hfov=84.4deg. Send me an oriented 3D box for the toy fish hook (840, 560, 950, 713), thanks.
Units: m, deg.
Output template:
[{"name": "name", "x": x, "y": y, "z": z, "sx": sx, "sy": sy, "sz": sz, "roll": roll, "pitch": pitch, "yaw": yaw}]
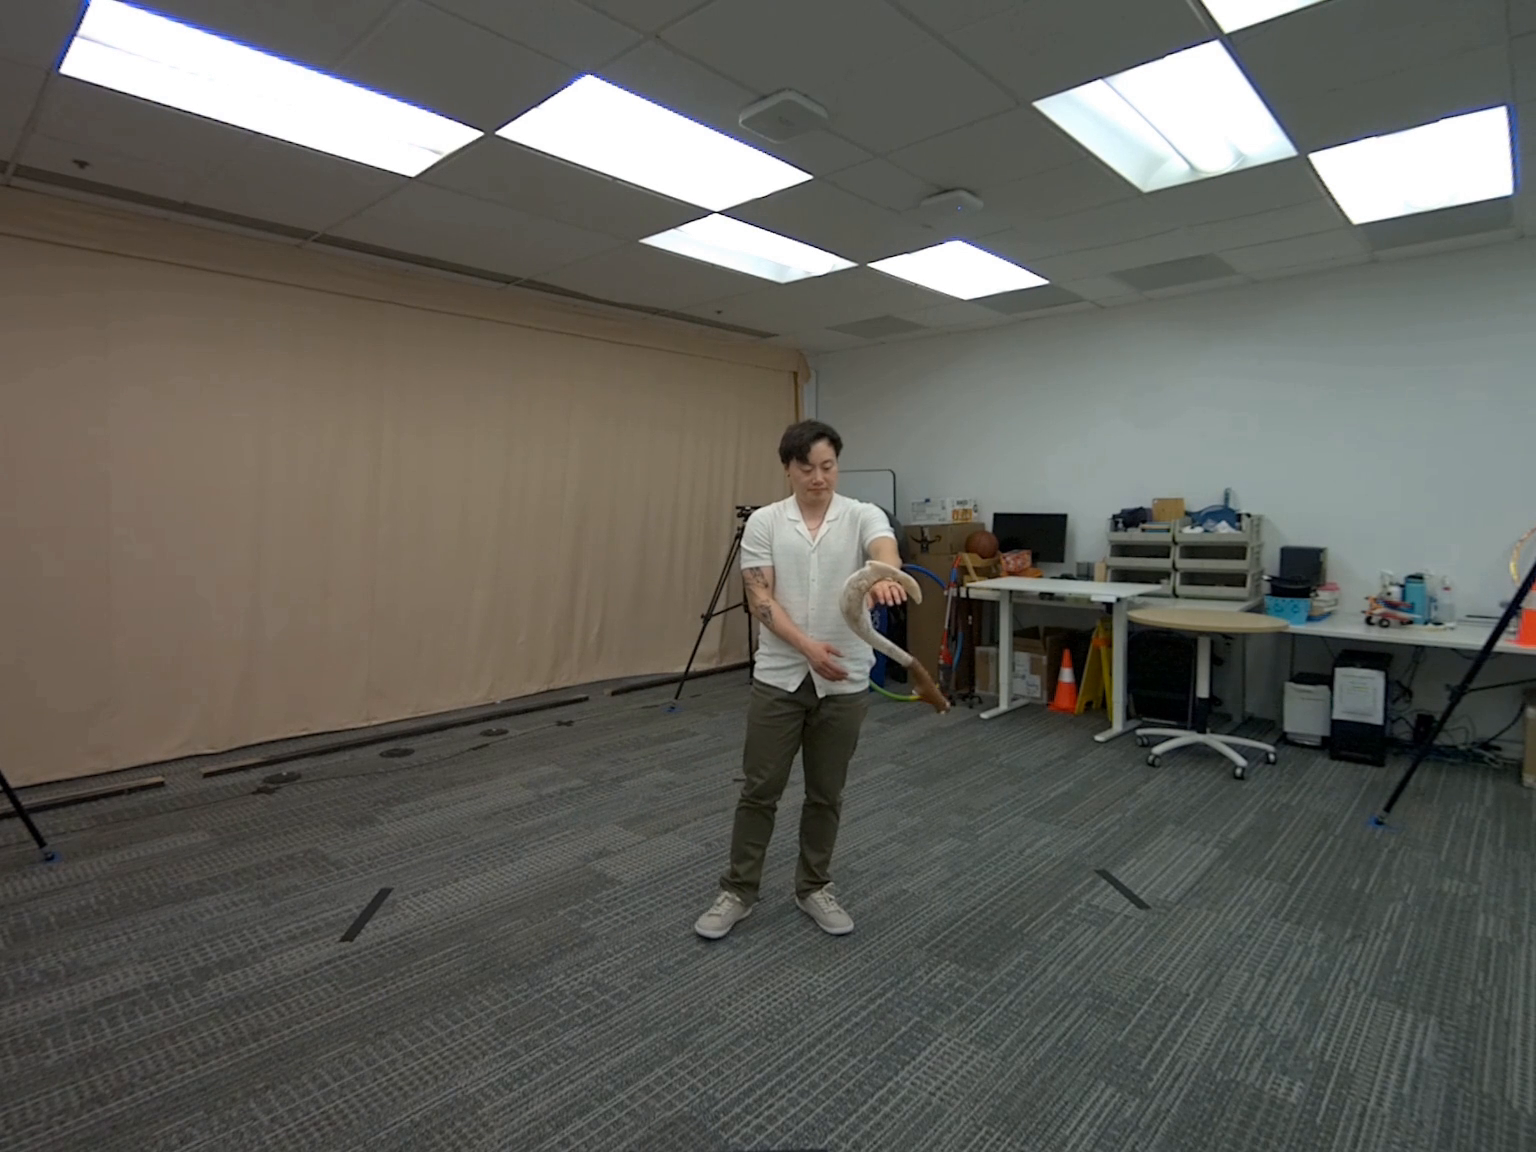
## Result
[{"name": "toy fish hook", "x": 0.406, "y": 0.173, "z": 2.385, "sx": 0.225, "sy": 0.498, "sz": 0.049, "roll": -40, "pitch": 14, "yaw": 1}]
